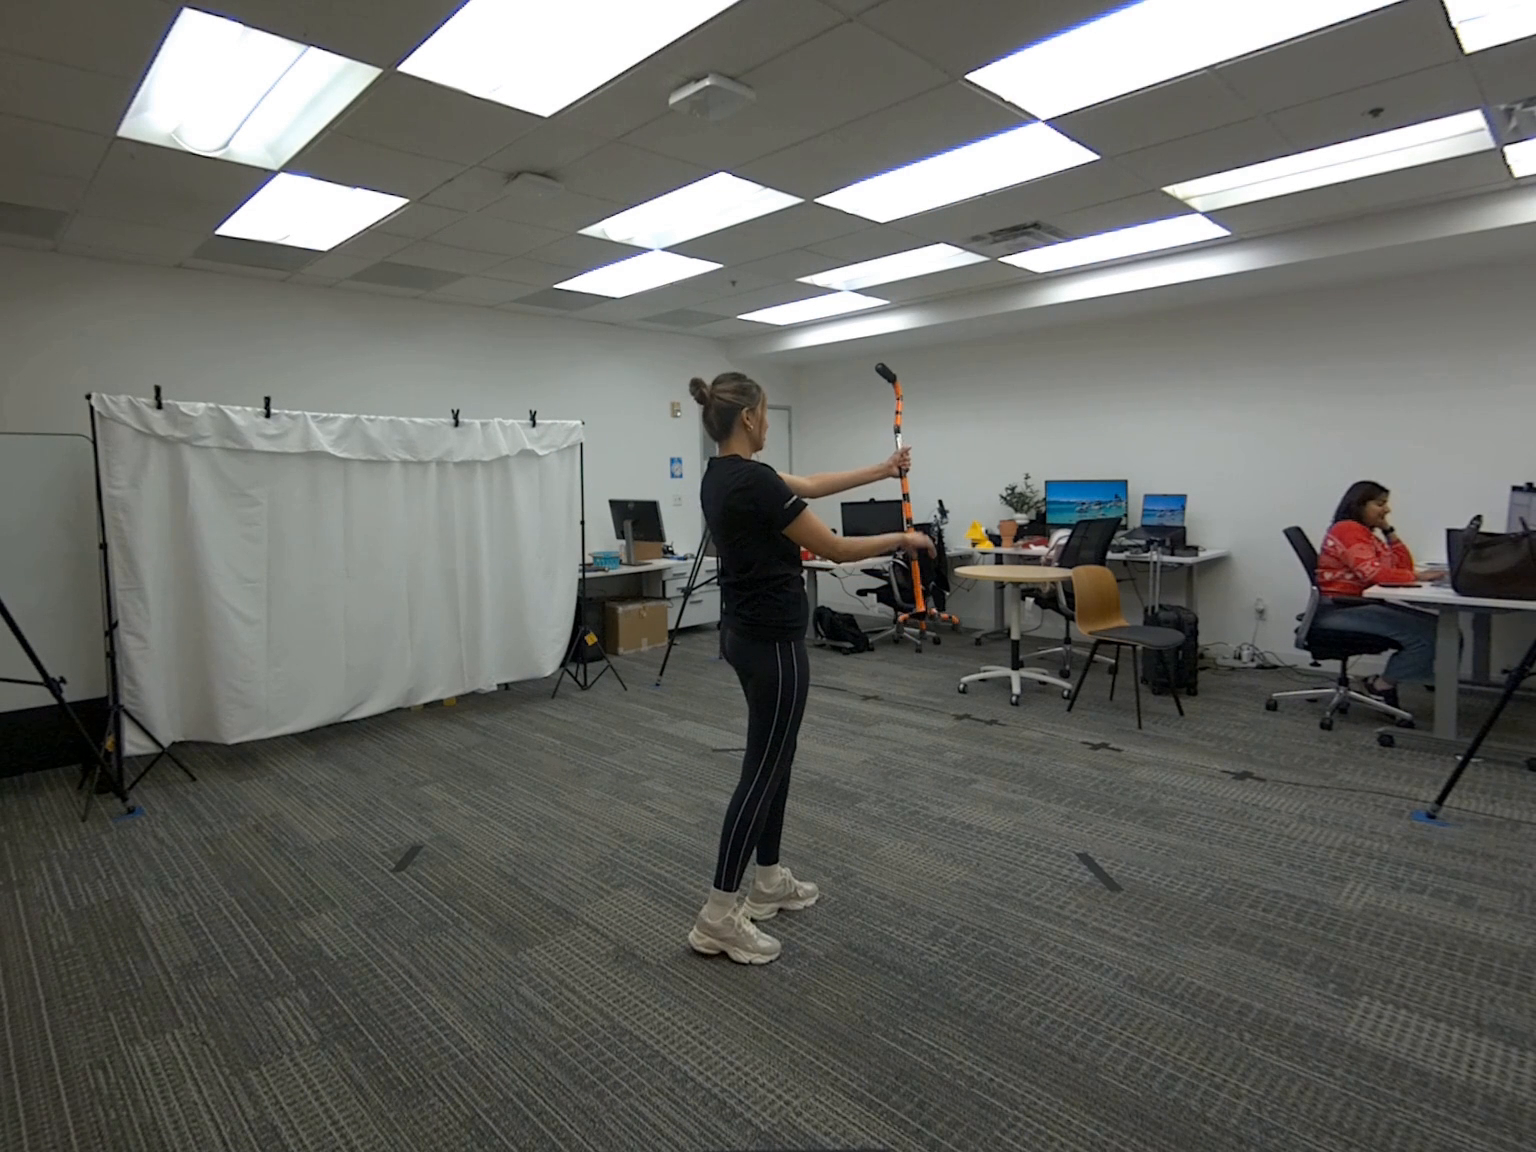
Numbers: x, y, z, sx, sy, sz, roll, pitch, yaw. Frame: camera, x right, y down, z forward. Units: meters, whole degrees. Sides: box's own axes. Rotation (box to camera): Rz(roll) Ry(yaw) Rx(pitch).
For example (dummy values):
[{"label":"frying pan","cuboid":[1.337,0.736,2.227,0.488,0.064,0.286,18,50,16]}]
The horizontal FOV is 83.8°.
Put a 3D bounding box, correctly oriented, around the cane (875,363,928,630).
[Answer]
[{"label":"cane","cuboid":[0.470,-0.267,2.816,0.155,0.922,0.199,-12,-19,30]}]
